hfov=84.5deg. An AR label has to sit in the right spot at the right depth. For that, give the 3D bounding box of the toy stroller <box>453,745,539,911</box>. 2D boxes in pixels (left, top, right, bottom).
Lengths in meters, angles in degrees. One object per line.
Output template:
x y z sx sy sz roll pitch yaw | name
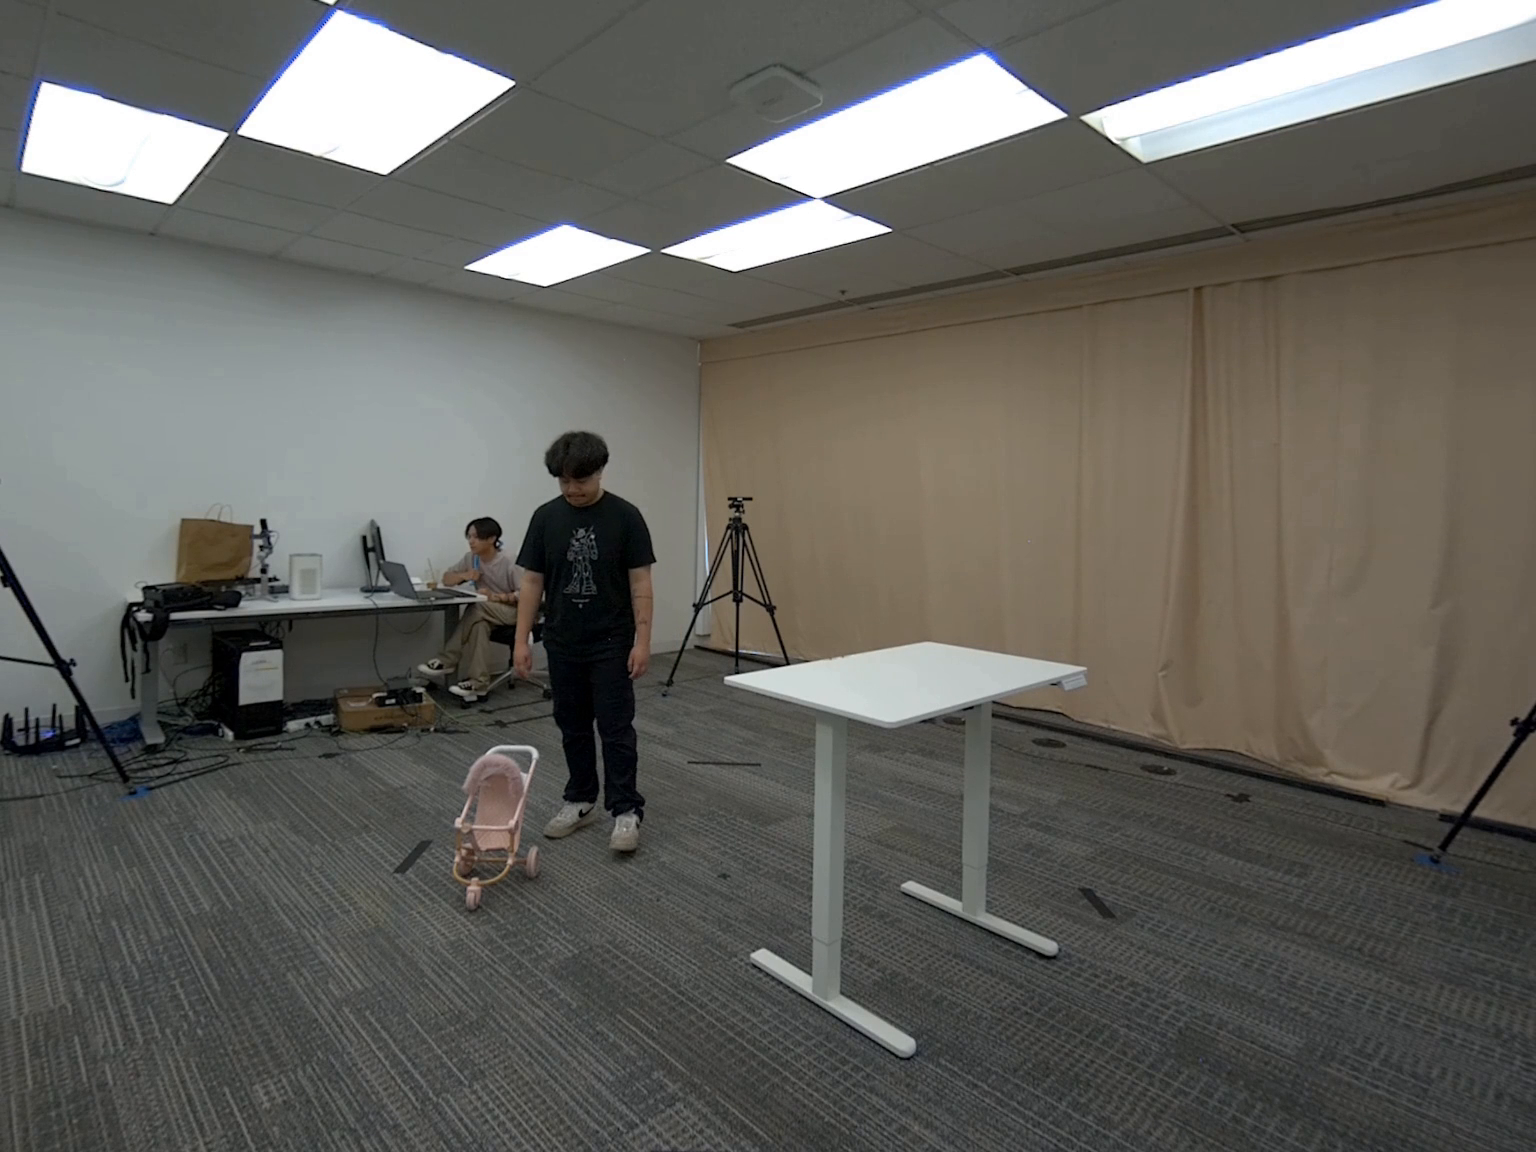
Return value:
-0.996 0.881 2.994 0.283 0.539 0.336 0 -12 7 | toy stroller
